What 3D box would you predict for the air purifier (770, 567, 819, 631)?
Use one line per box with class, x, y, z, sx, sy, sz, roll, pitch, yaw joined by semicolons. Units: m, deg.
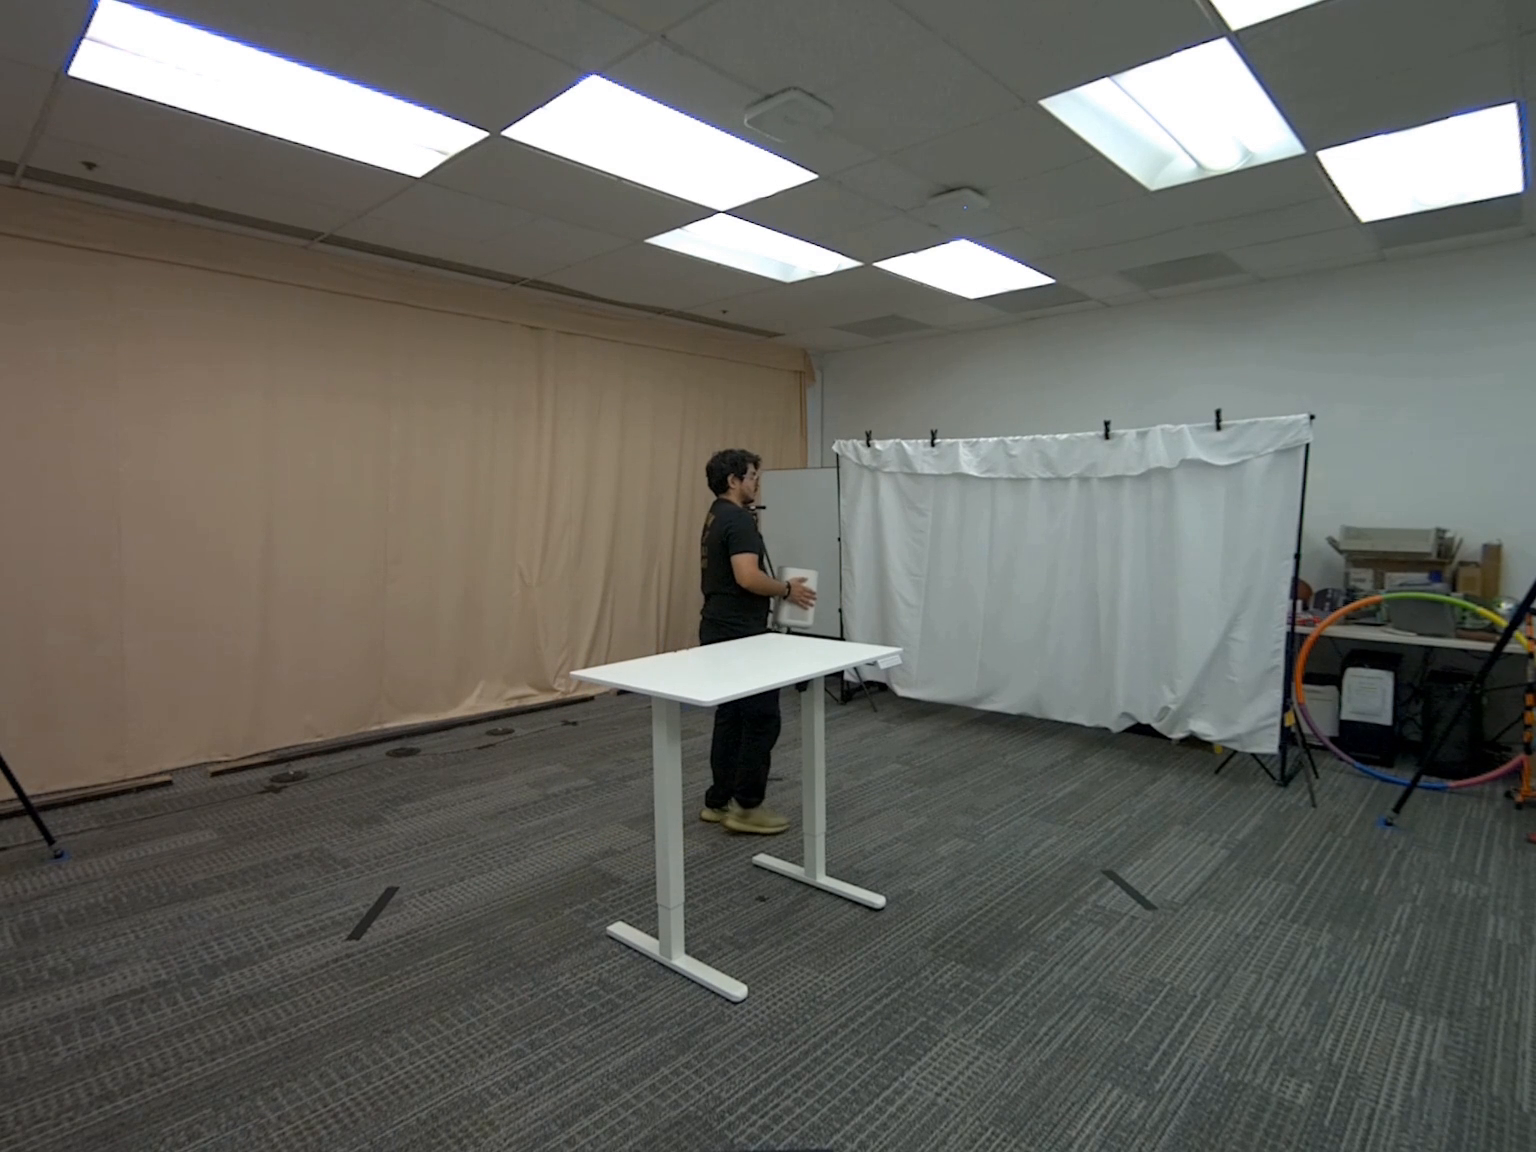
air purifier;0.124;0.095;3.743;0.170;0.265;0.173;6;-1;-10
